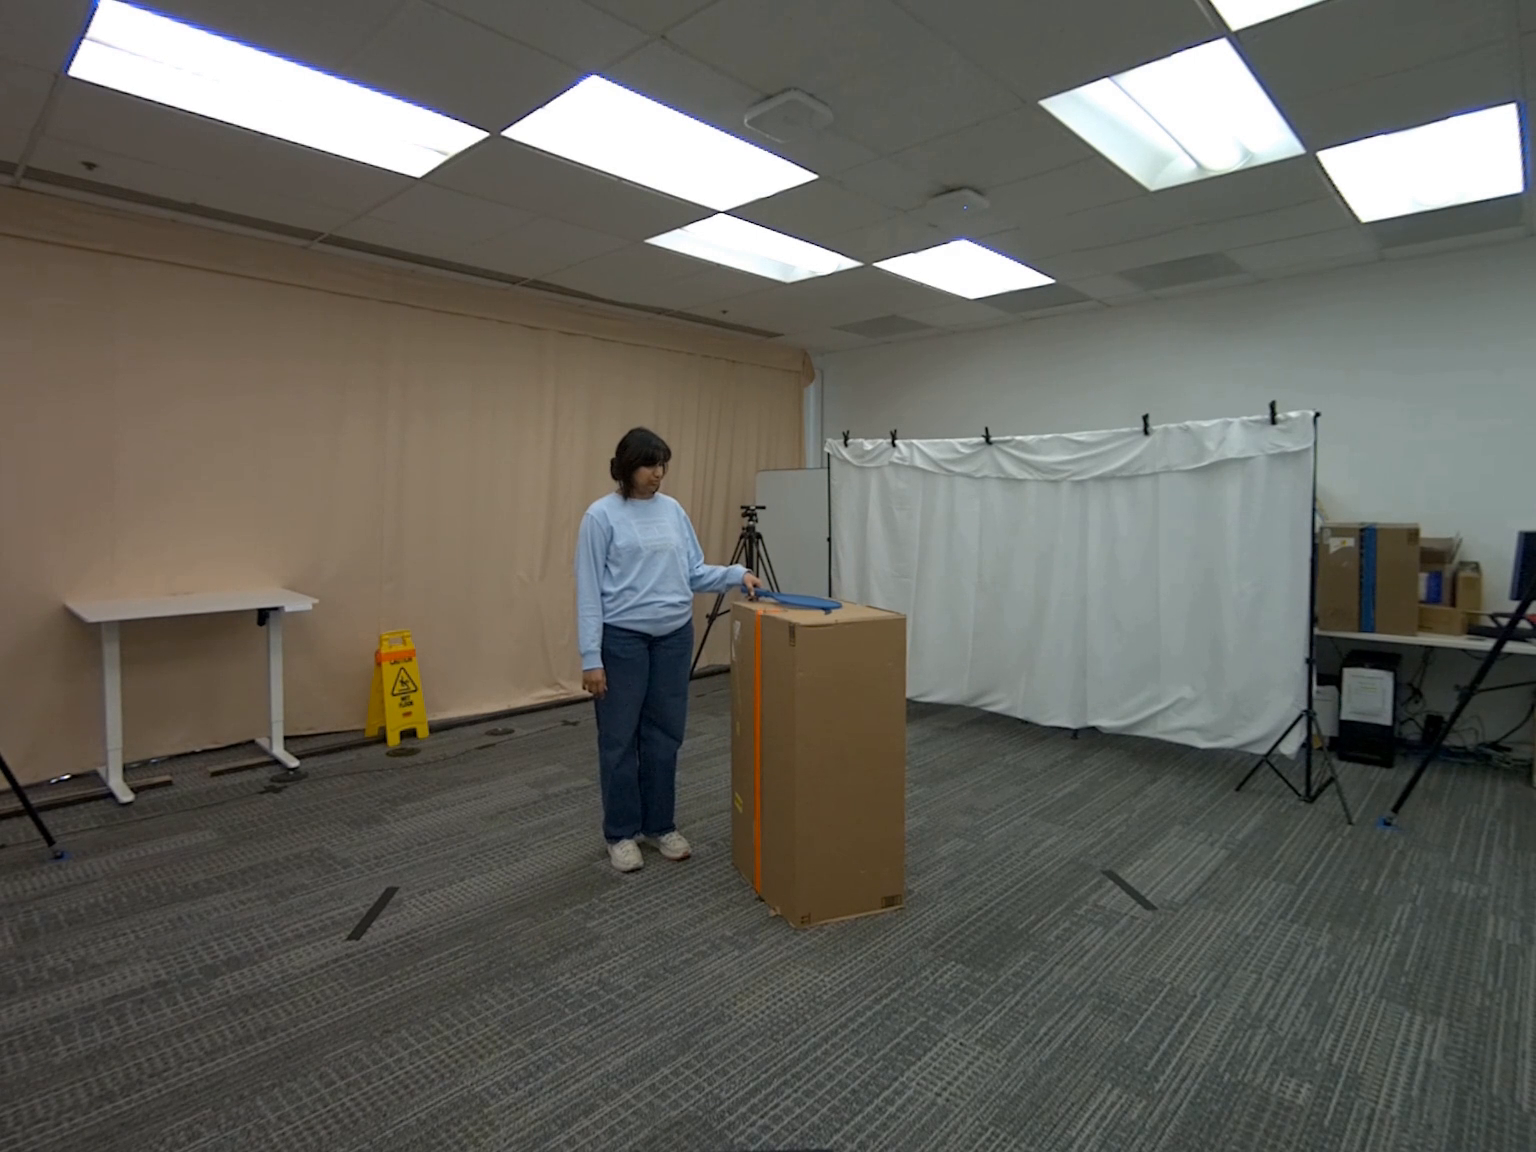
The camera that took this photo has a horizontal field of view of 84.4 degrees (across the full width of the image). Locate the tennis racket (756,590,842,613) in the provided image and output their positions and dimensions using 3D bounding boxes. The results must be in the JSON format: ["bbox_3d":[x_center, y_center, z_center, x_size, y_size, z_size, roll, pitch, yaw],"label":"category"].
[{"bbox_3d":[0.099,0.089,3.145,0.447,0.031,0.207,8,9,37],"label":"tennis racket"}]
